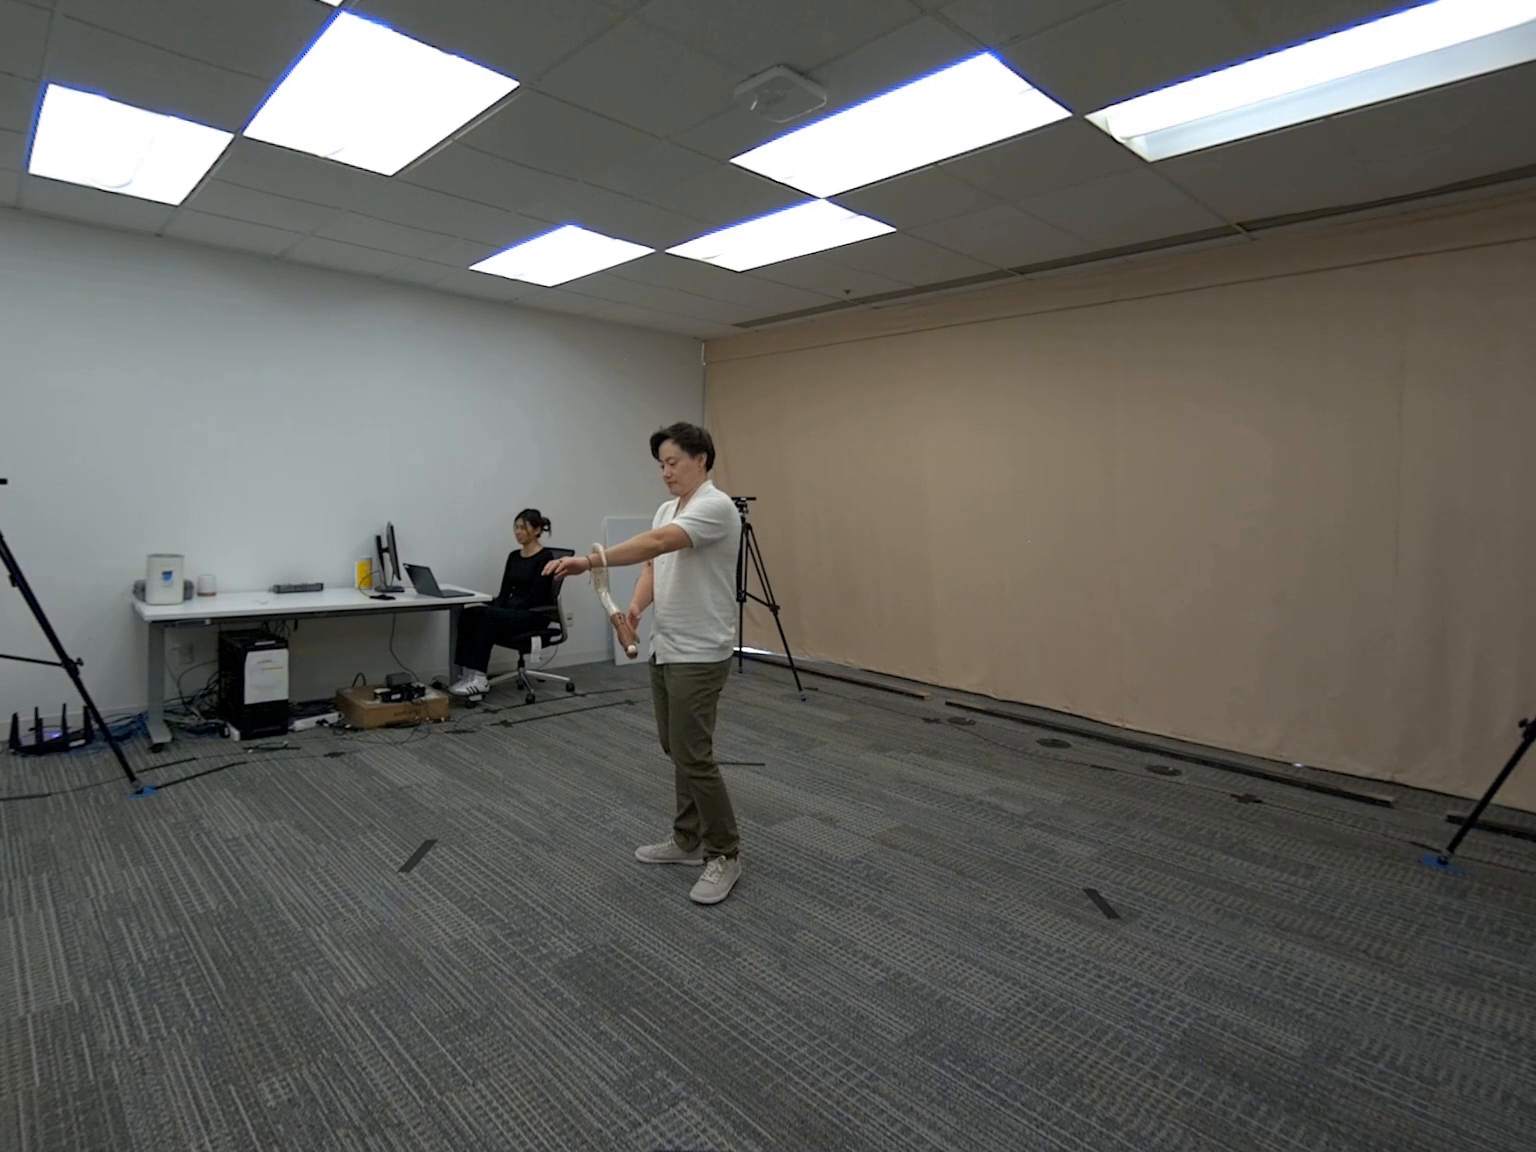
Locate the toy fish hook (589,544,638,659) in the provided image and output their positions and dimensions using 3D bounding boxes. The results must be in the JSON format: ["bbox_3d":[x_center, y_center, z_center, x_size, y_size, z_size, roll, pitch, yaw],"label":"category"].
[{"bbox_3d":[-0.525,0.074,2.680,0.048,0.219,0.522,-15,37,-14],"label":"toy fish hook"}]
